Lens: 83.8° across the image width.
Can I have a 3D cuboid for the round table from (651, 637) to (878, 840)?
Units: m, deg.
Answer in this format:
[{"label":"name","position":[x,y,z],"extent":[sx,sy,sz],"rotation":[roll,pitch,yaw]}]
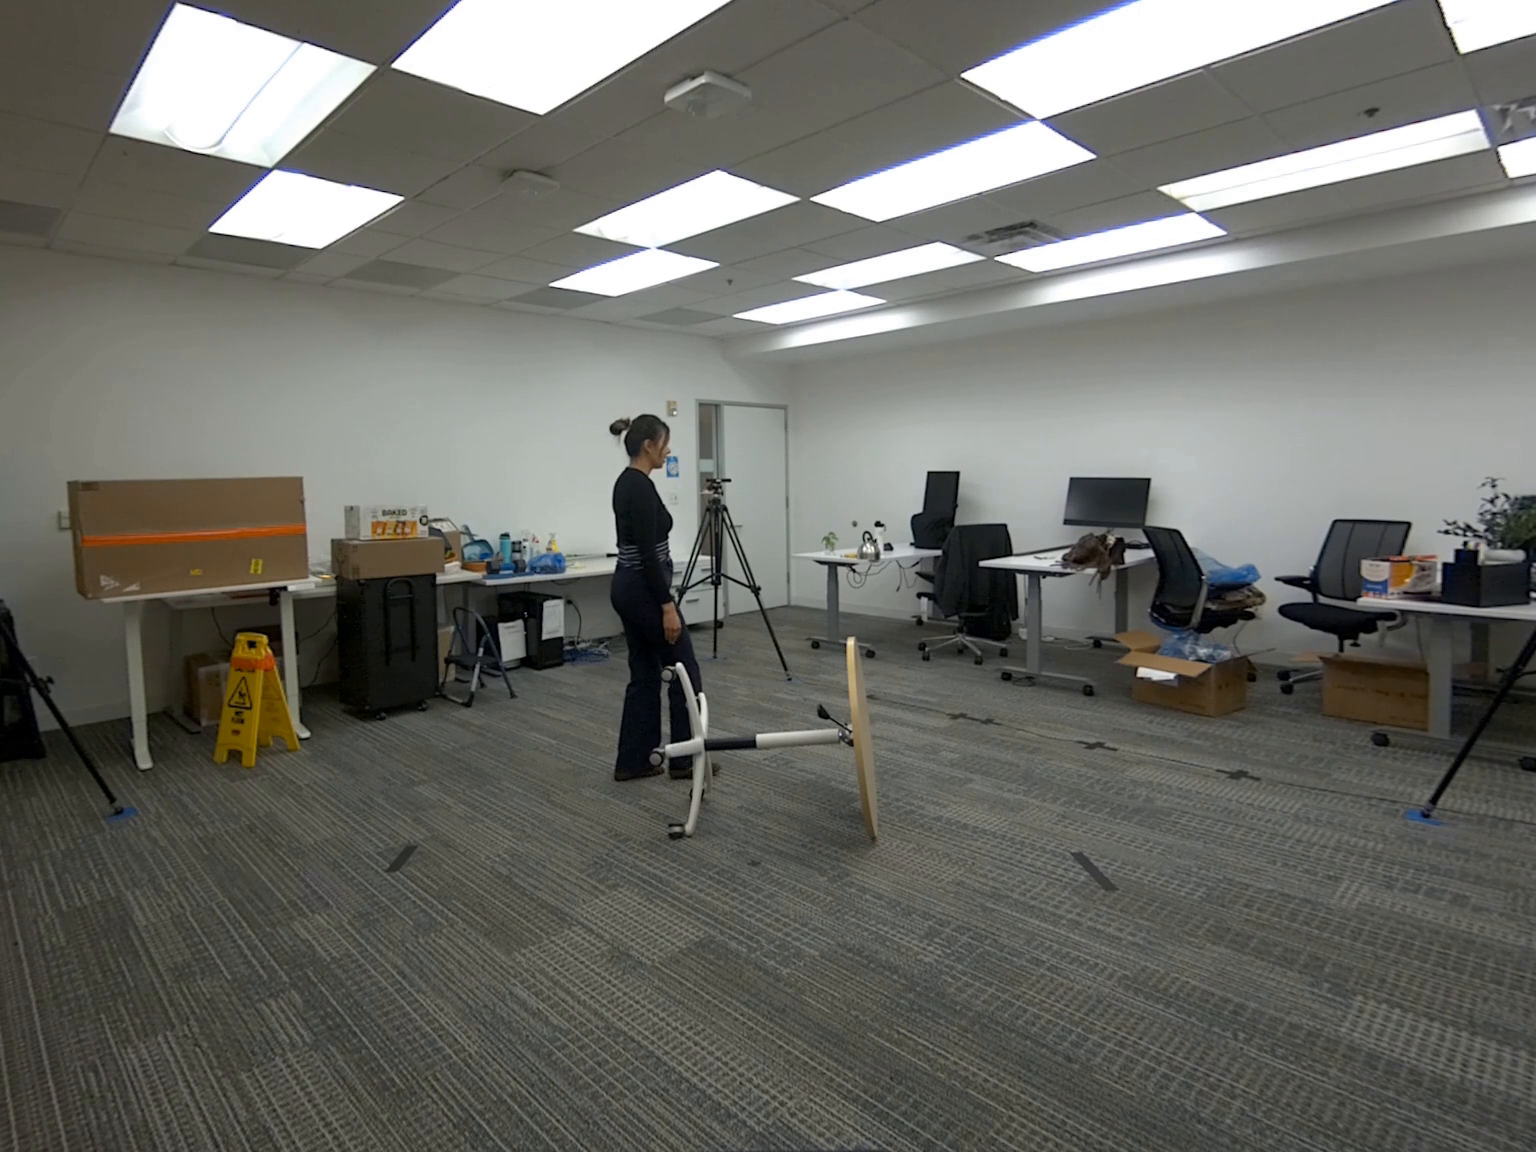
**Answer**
[{"label":"round table","position":[-0.003,0.664,3.448],"extent":[0.801,0.762,0.760],"rotation":[-7,4,9]}]
